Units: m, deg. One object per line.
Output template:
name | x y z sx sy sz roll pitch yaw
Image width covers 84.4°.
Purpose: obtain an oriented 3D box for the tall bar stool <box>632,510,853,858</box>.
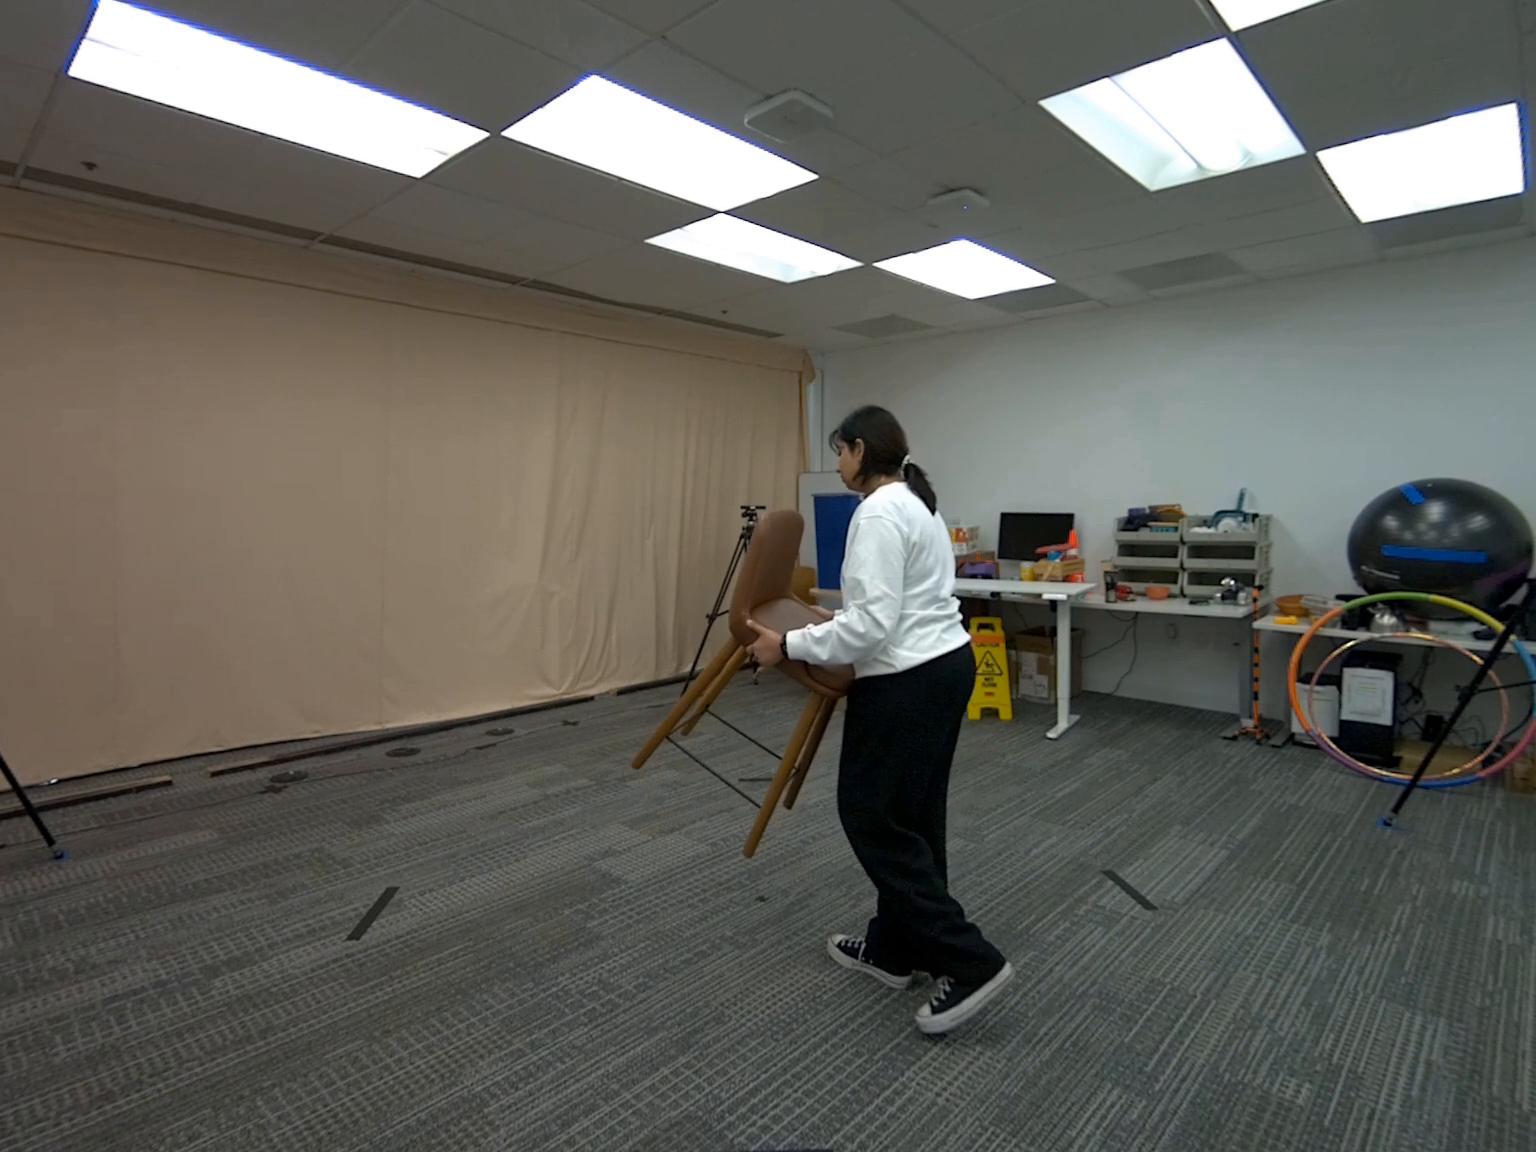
tall bar stool | 0.033 0.302 2.532 0.478 0.888 0.447 30 14 17
